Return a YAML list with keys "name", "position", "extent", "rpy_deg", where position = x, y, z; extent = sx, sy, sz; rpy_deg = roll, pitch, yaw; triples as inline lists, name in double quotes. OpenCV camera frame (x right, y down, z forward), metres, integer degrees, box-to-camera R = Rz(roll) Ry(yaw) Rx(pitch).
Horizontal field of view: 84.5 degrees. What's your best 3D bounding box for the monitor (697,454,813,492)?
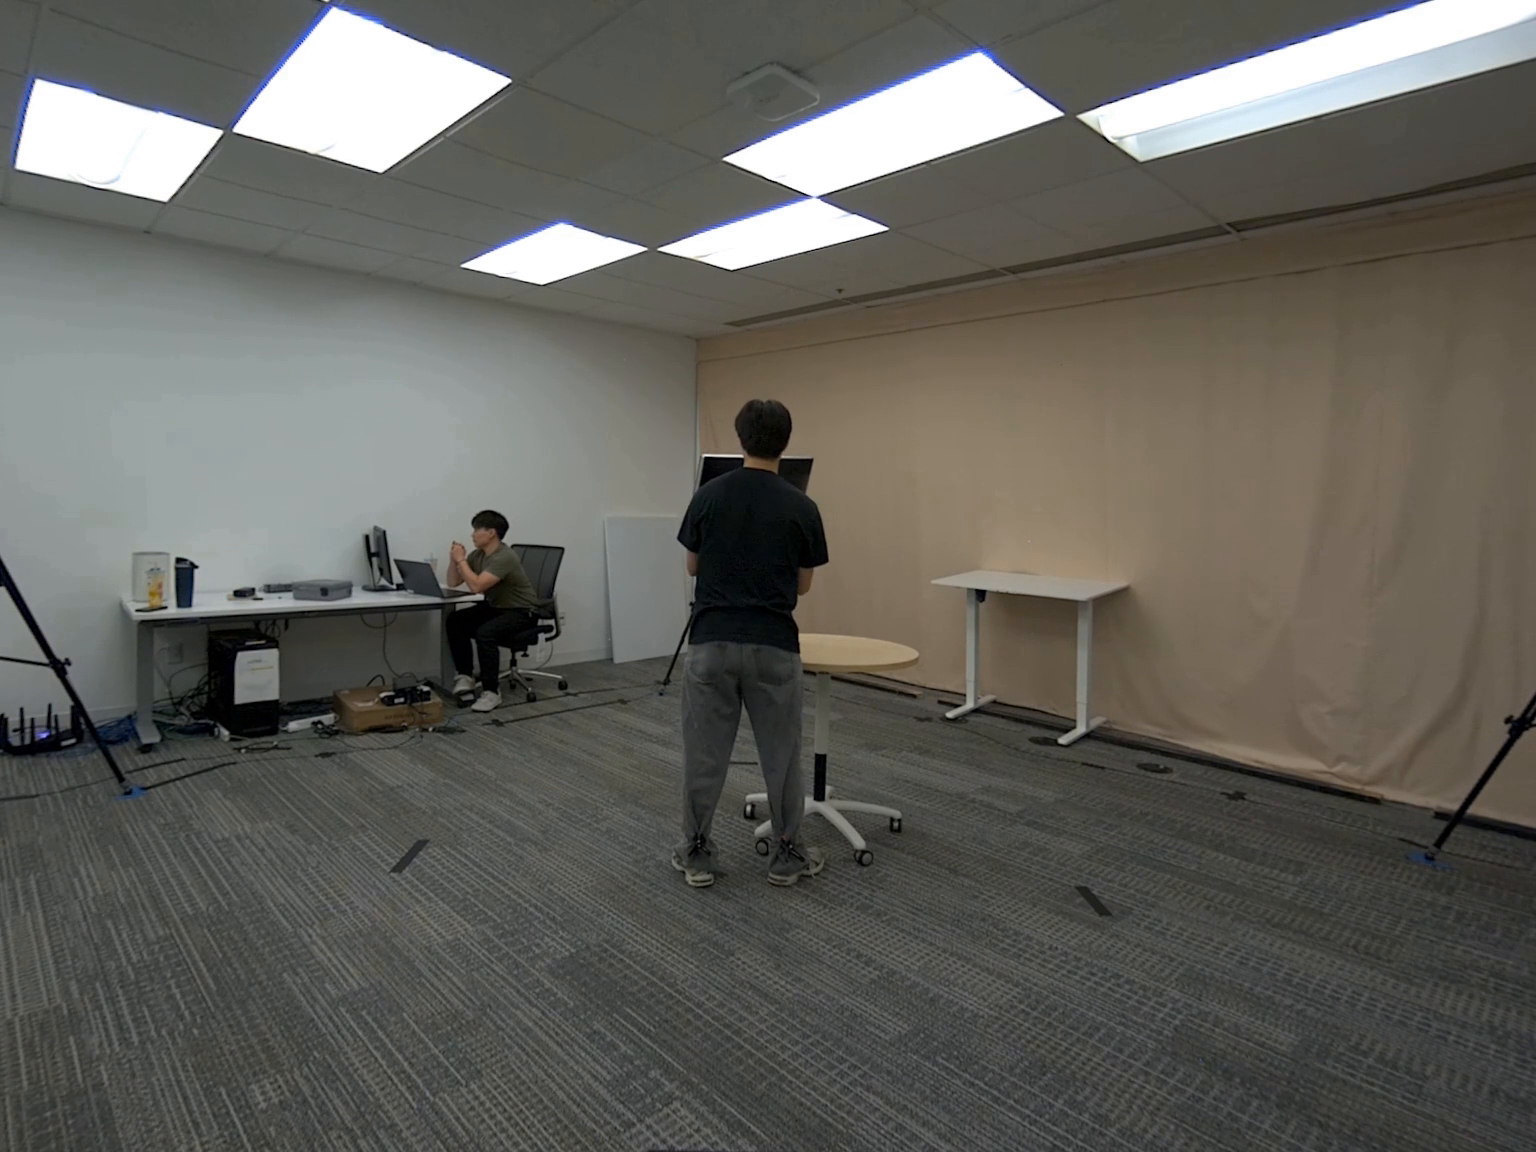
- name: "monitor"
  position: [-0.050, -0.198, 3.388]
  extent: [0.550, 0.563, 0.228]
  rpy_deg: [-3, 9, -35]
